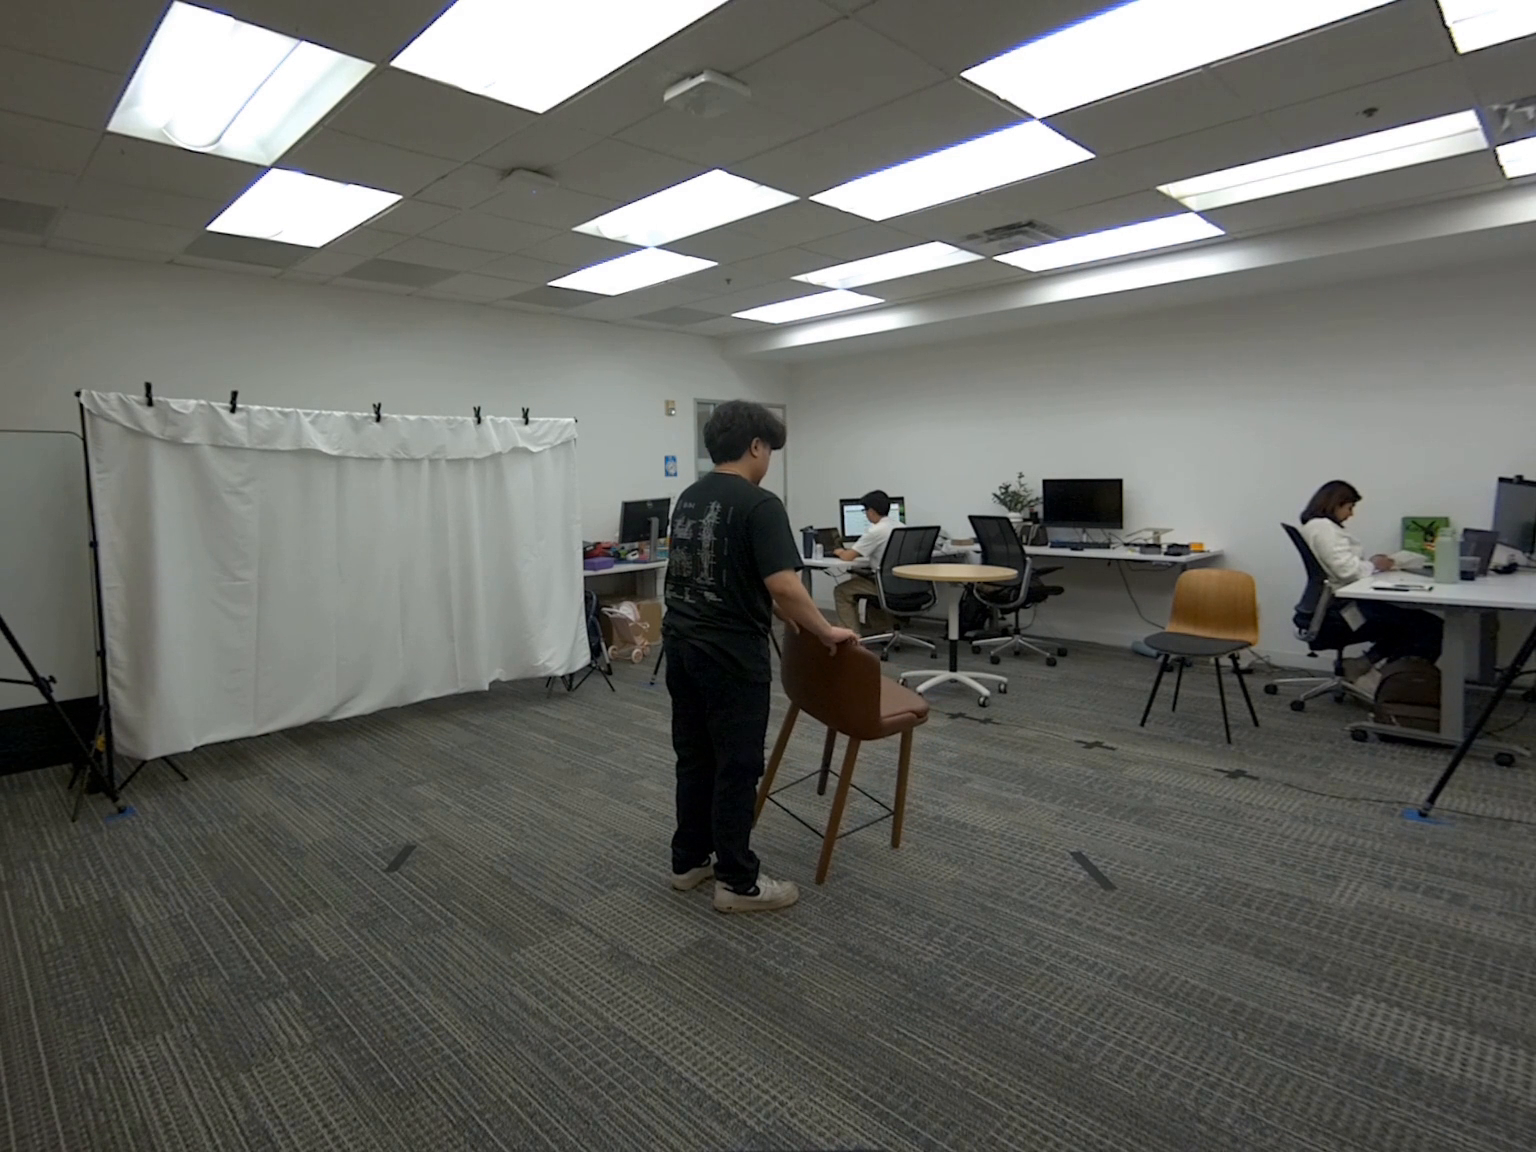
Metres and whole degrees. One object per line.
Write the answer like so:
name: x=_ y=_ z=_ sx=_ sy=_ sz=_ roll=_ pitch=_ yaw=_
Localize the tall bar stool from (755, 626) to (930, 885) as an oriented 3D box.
tall bar stool: x=0.270 y=0.568 z=3.089 sx=0.456 sy=0.878 sz=0.474 roll=-9 pitch=24 yaw=-44
